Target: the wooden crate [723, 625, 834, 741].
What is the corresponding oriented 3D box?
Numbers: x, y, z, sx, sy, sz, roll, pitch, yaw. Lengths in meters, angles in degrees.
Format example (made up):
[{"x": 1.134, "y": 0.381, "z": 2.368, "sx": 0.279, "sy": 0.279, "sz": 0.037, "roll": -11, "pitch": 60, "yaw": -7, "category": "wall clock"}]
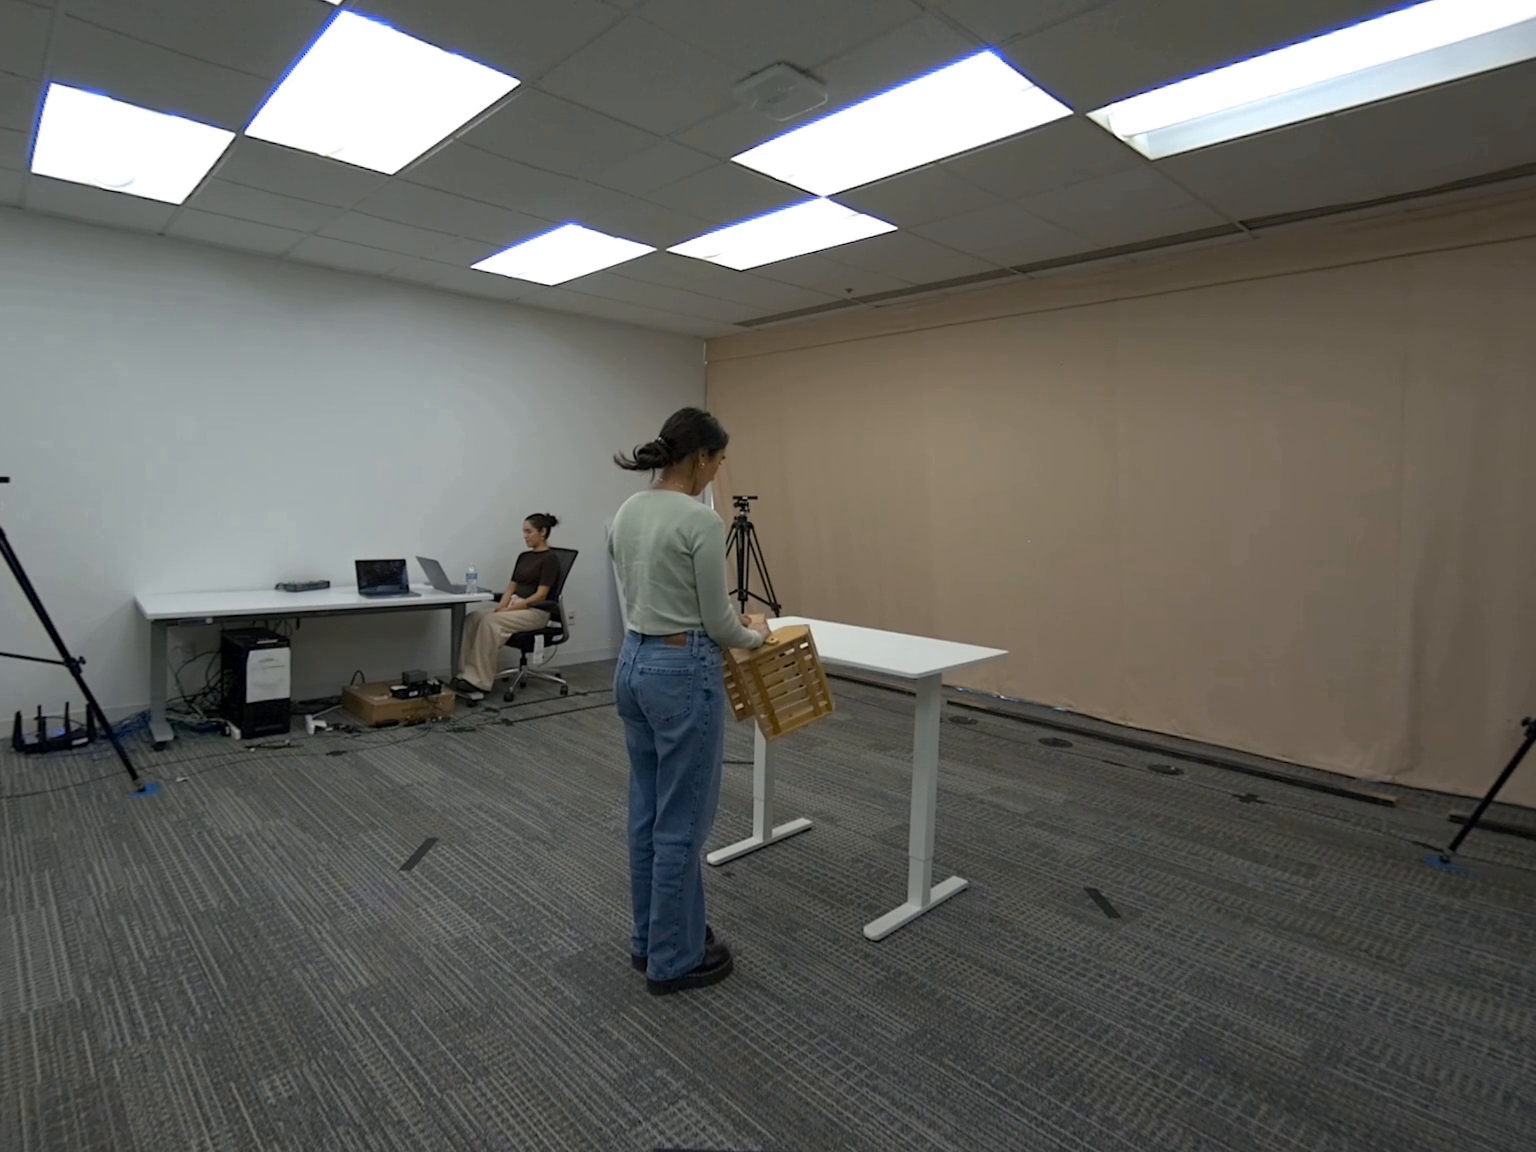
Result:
[{"x": -0.012, "y": 0.300, "z": 2.662, "sx": 0.301, "sy": 0.318, "sz": 0.280, "roll": -21, "pitch": 24, "yaw": -9, "category": "wooden crate"}]
